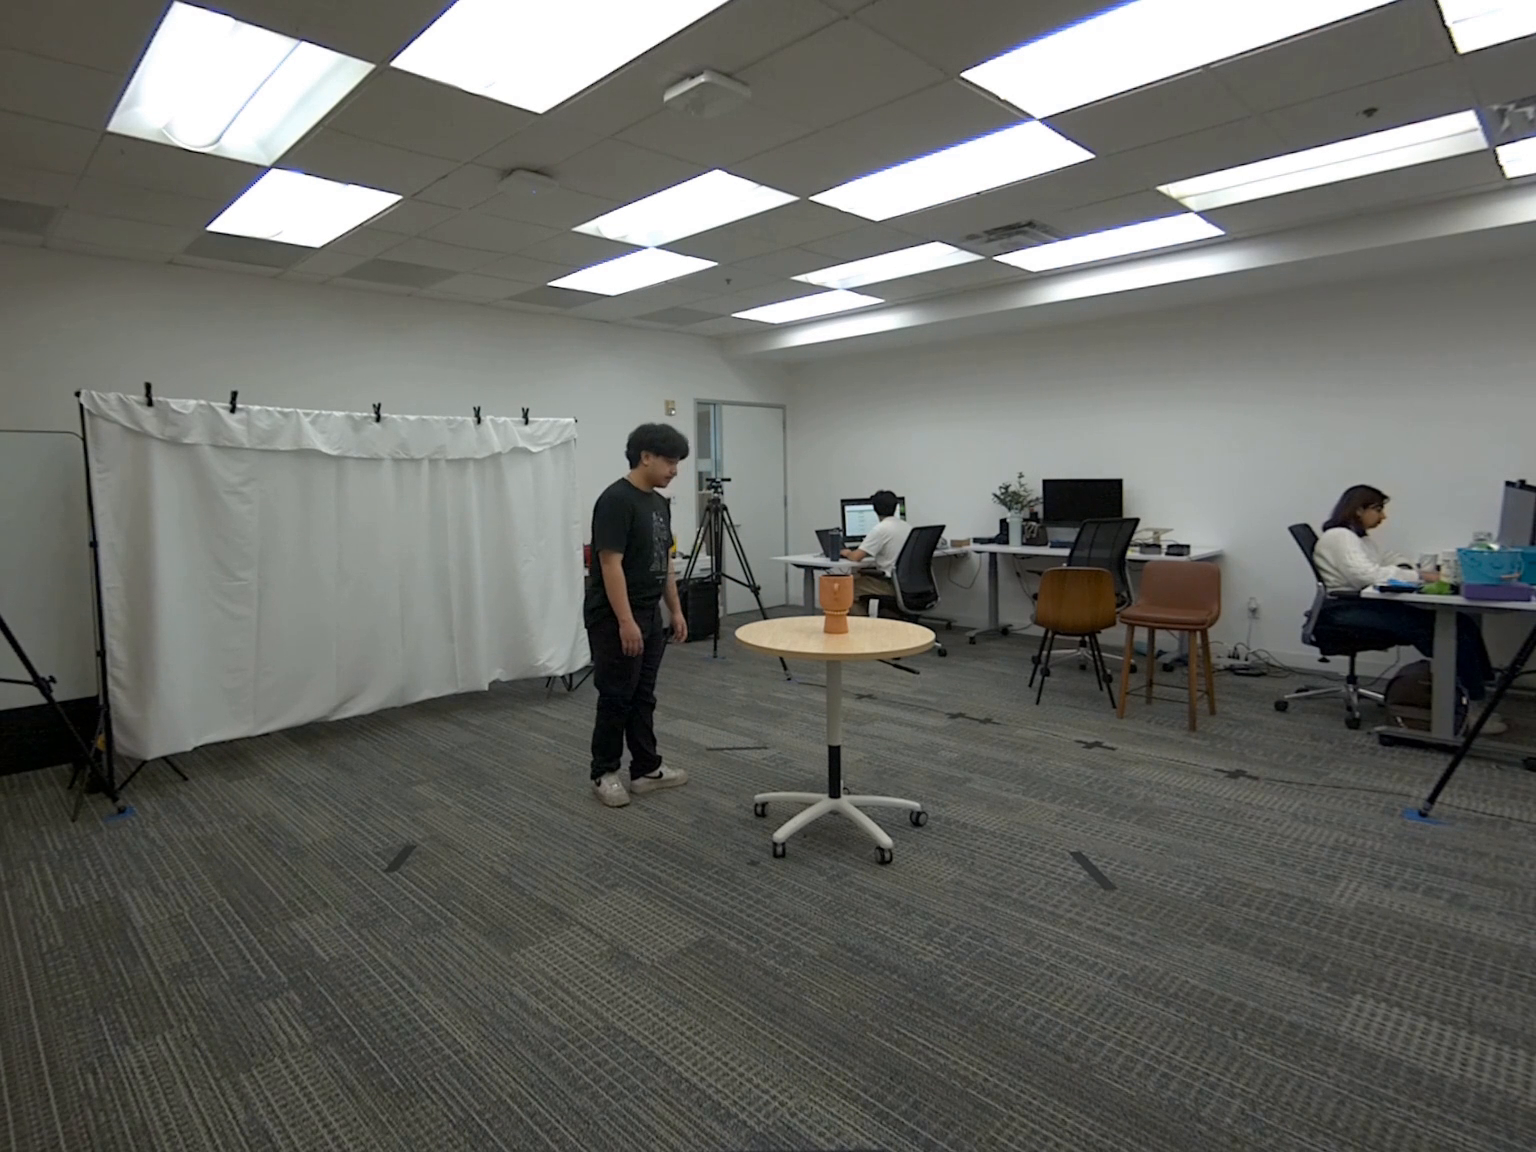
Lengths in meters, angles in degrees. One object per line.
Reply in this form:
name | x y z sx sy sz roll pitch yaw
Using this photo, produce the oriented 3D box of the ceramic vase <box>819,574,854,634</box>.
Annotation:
ceramic vase | 0.269 0.108 3.327 0.139 0.219 0.155 3 6 44
